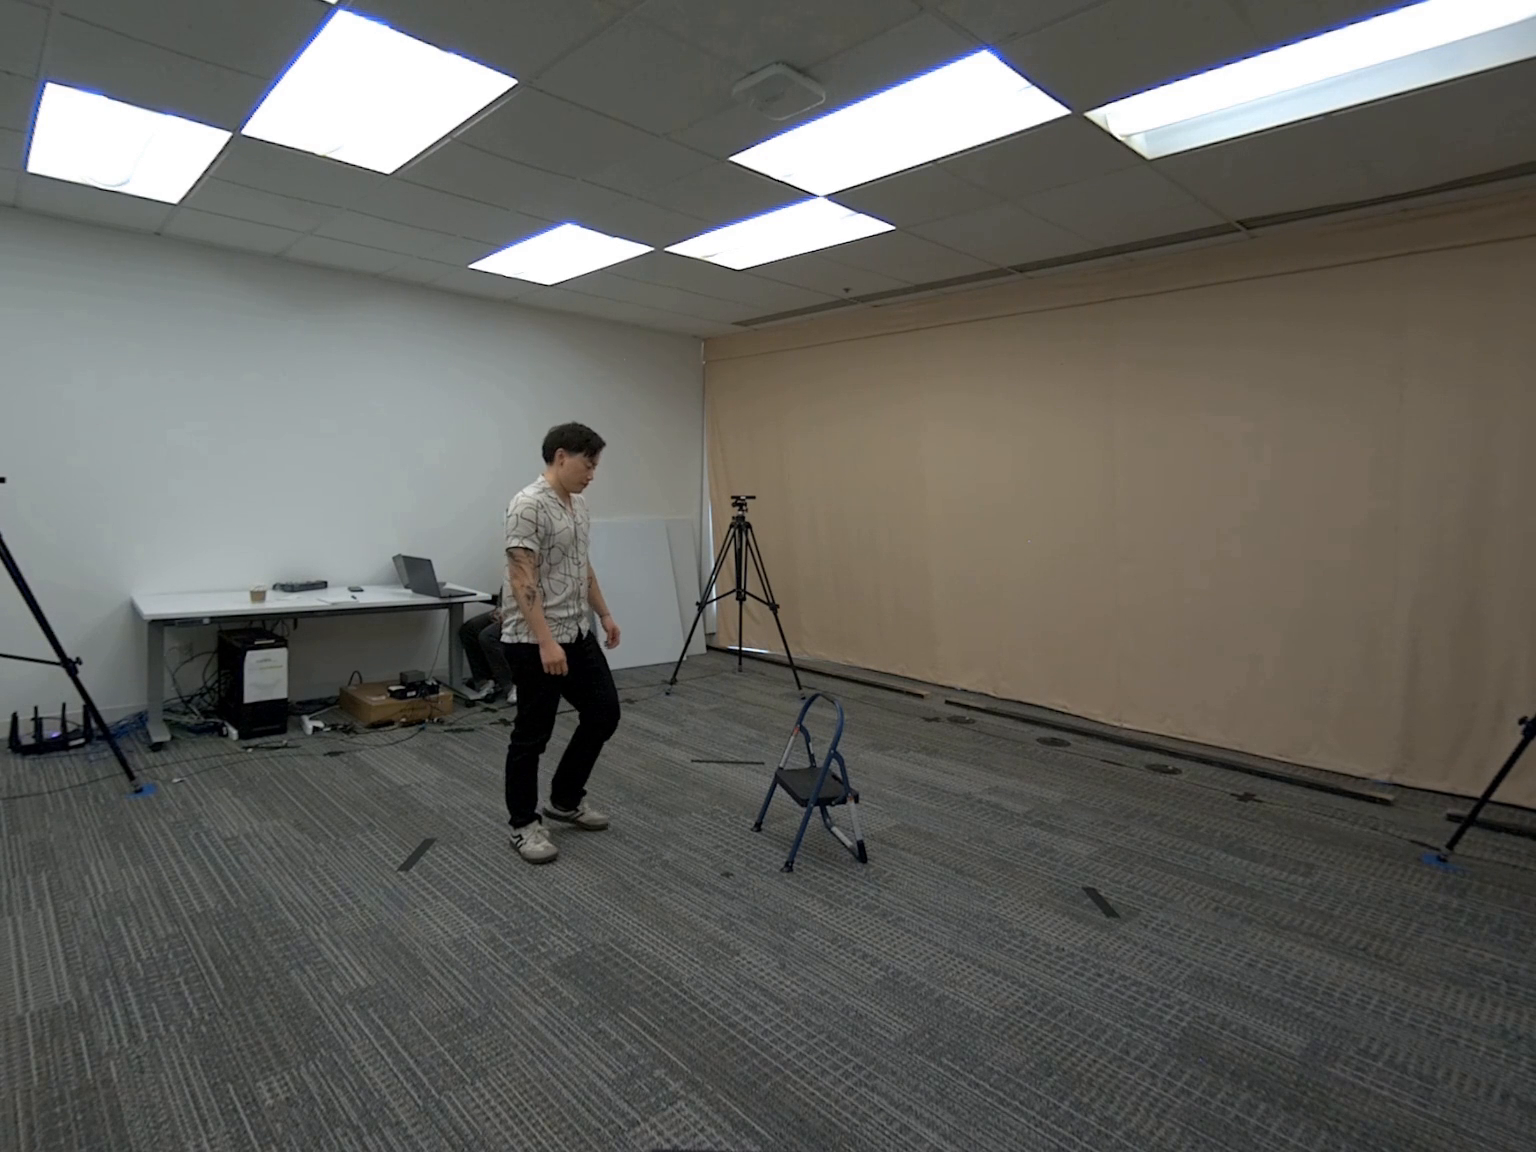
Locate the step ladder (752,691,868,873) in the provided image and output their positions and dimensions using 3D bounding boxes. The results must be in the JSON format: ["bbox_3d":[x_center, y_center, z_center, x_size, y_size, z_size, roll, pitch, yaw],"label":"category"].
[{"bbox_3d":[0.157,0.782,3.365,0.345,0.604,0.437,0,4,-18],"label":"step ladder"}]
